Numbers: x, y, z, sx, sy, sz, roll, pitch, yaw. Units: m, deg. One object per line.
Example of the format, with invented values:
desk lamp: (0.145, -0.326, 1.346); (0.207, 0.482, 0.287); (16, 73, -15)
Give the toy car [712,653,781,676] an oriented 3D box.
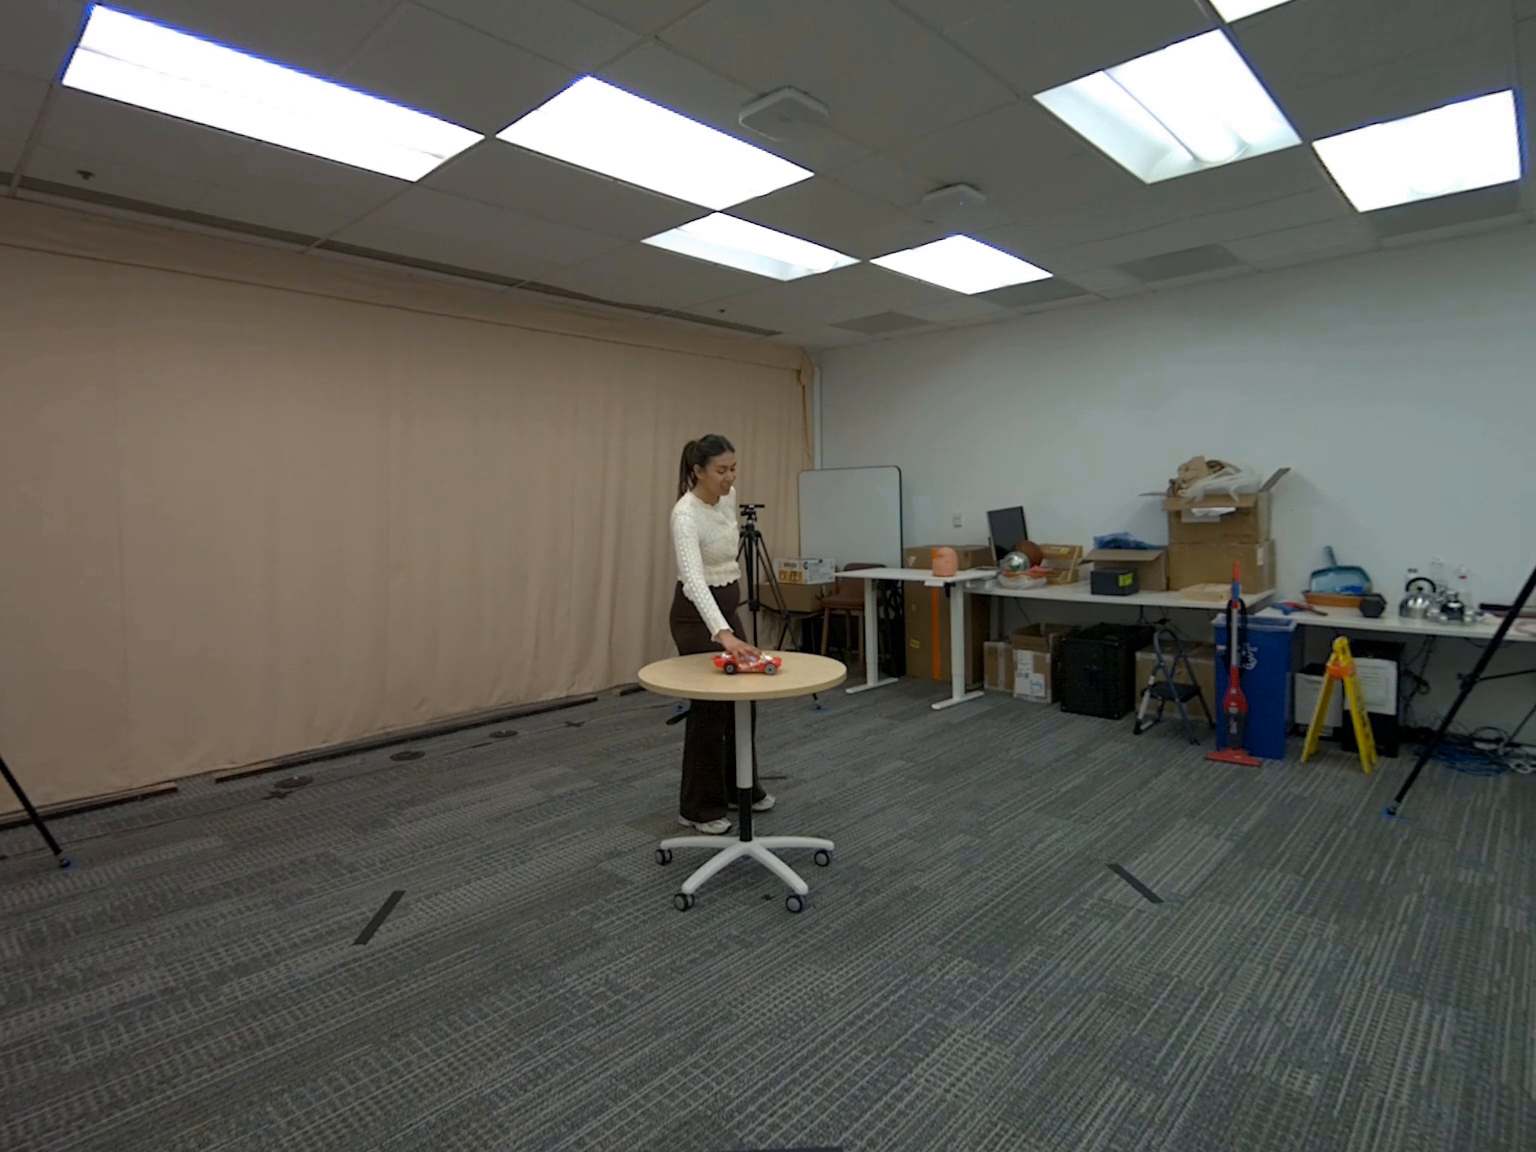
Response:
toy car: (-0.075, 0.321, 3.052); (0.256, 0.083, 0.130); (9, 6, 6)
